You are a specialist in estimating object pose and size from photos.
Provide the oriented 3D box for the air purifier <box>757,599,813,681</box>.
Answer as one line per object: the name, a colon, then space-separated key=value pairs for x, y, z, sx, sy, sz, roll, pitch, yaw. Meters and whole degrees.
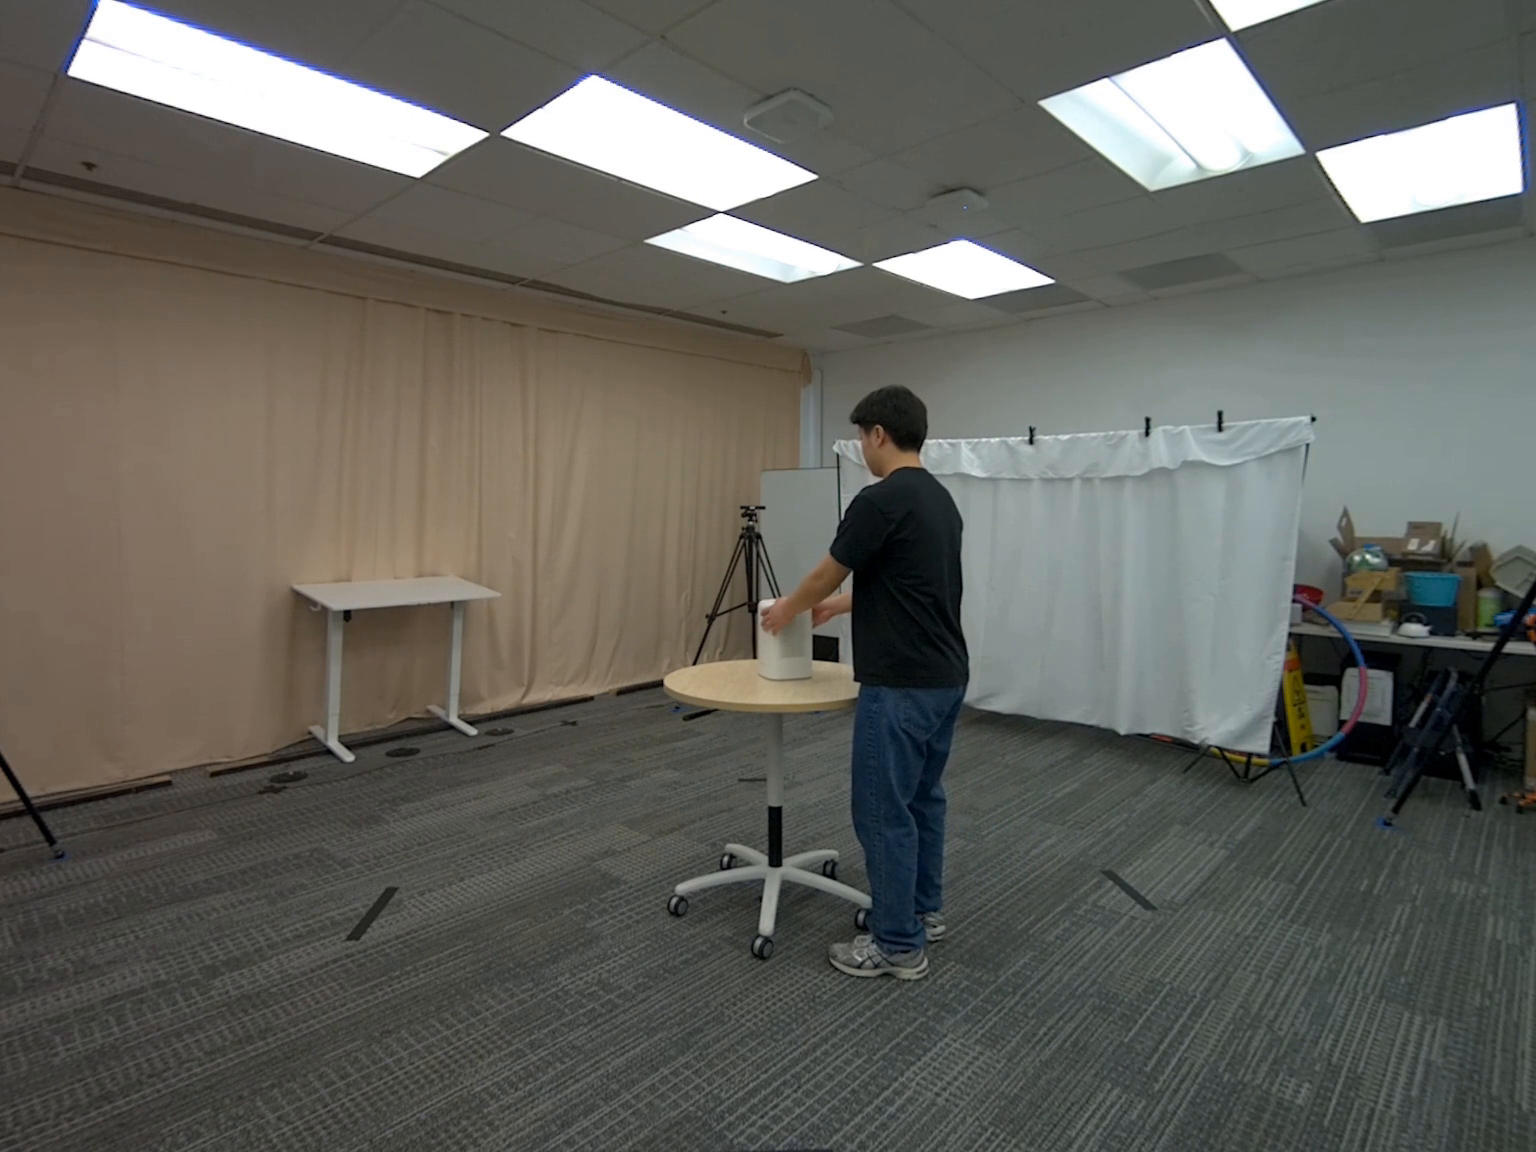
air purifier: x=0.062 y=0.220 z=2.956 sx=0.169 sy=0.265 sz=0.174 roll=1 pitch=3 yaw=-15
